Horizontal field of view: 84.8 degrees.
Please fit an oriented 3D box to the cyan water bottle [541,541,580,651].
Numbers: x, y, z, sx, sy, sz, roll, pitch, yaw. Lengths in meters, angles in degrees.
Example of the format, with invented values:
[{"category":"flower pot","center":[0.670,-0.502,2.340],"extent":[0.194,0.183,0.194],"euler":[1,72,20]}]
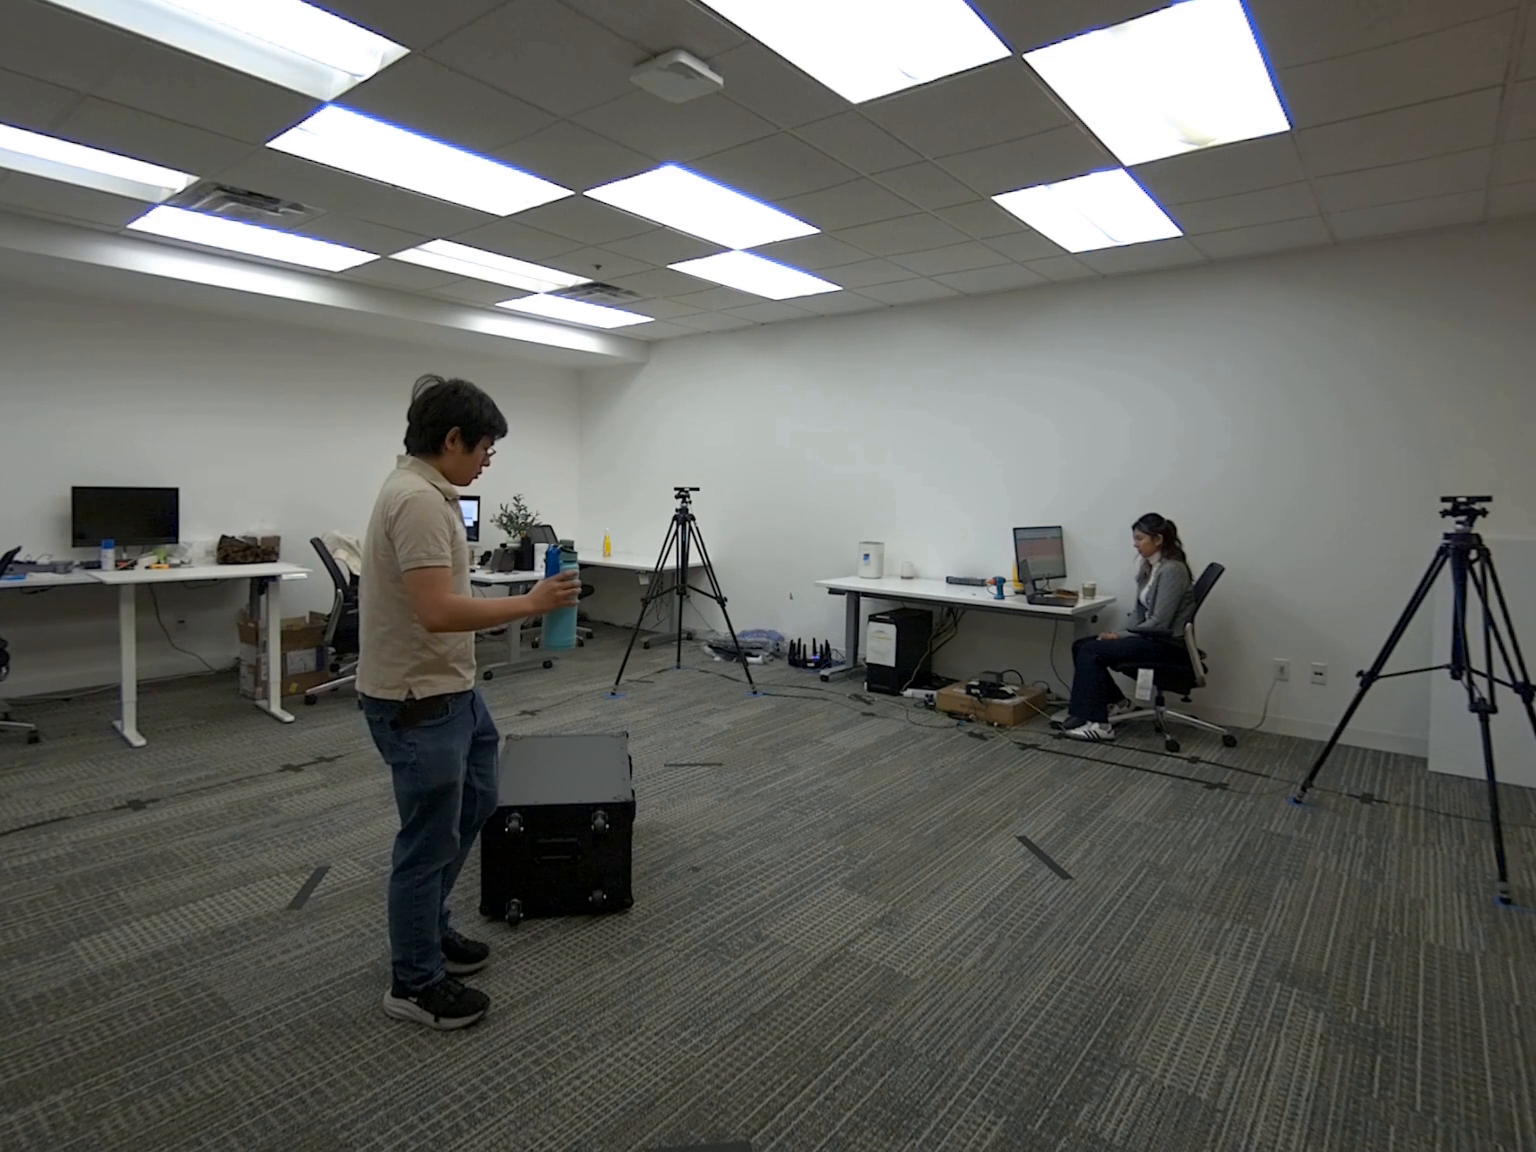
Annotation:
[{"category":"cyan water bottle","center":[-0.564,0.046,2.241],"extent":[0.092,0.282,0.093],"euler":[1,6,-2]}]
